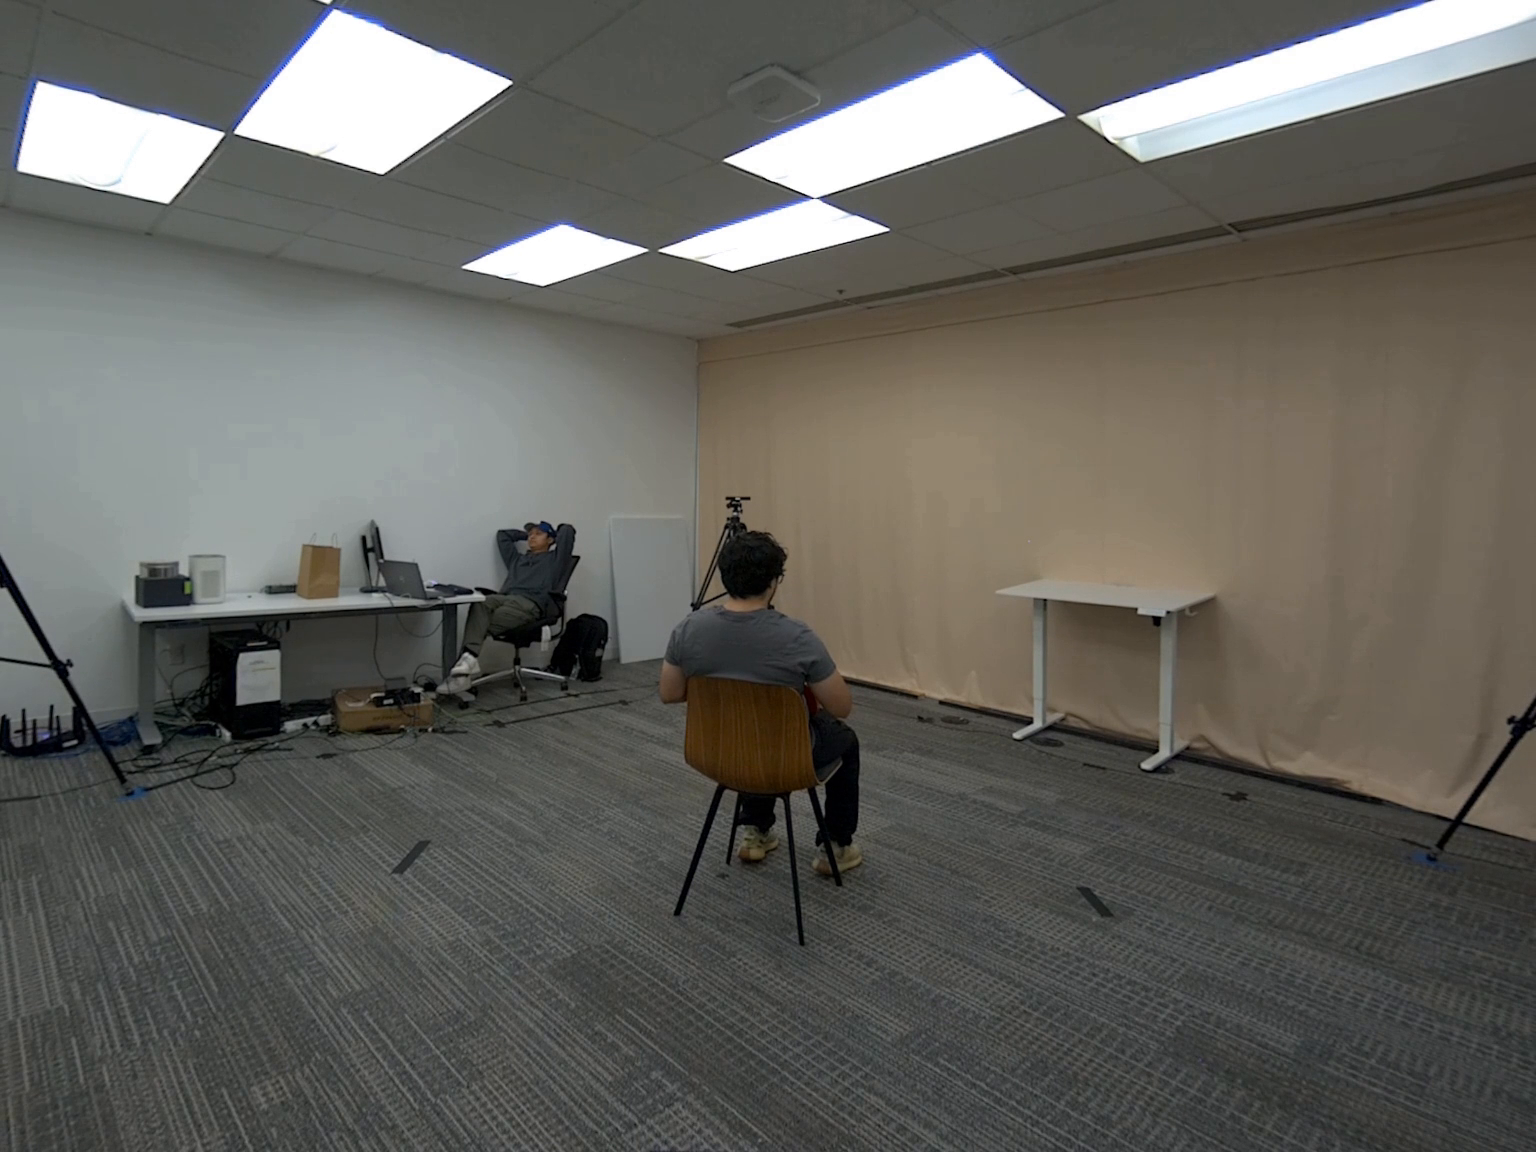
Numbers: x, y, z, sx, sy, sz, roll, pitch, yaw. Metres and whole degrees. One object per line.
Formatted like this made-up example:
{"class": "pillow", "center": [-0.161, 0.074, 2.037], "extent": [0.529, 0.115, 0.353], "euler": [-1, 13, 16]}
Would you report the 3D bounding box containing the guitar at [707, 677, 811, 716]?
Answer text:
{"class": "guitar", "center": [-0.020, 0.361, 2.994], "extent": [0.511, 0.187, 0.071], "euler": [10, 47, 36]}
